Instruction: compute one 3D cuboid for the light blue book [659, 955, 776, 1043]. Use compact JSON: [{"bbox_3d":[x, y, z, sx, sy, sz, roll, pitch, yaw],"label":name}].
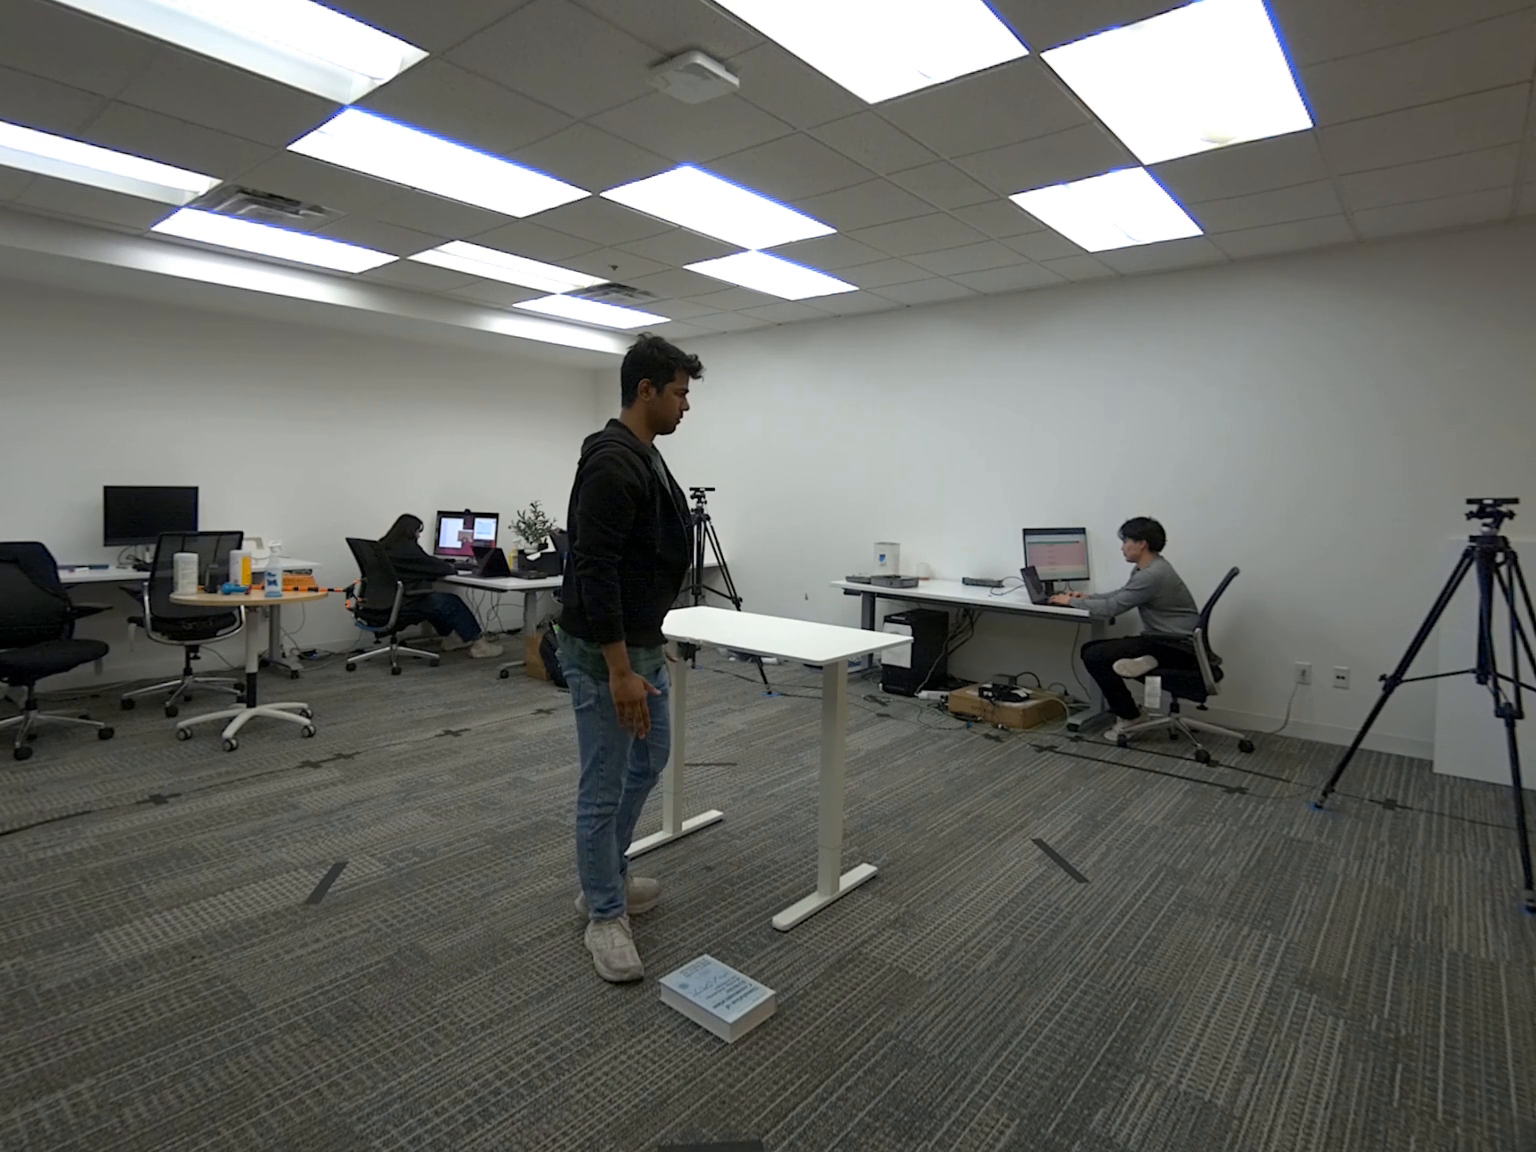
[{"bbox_3d":[-0.141,1.121,2.277,0.270,0.059,0.186,6,8,40],"label":"light blue book"}]
